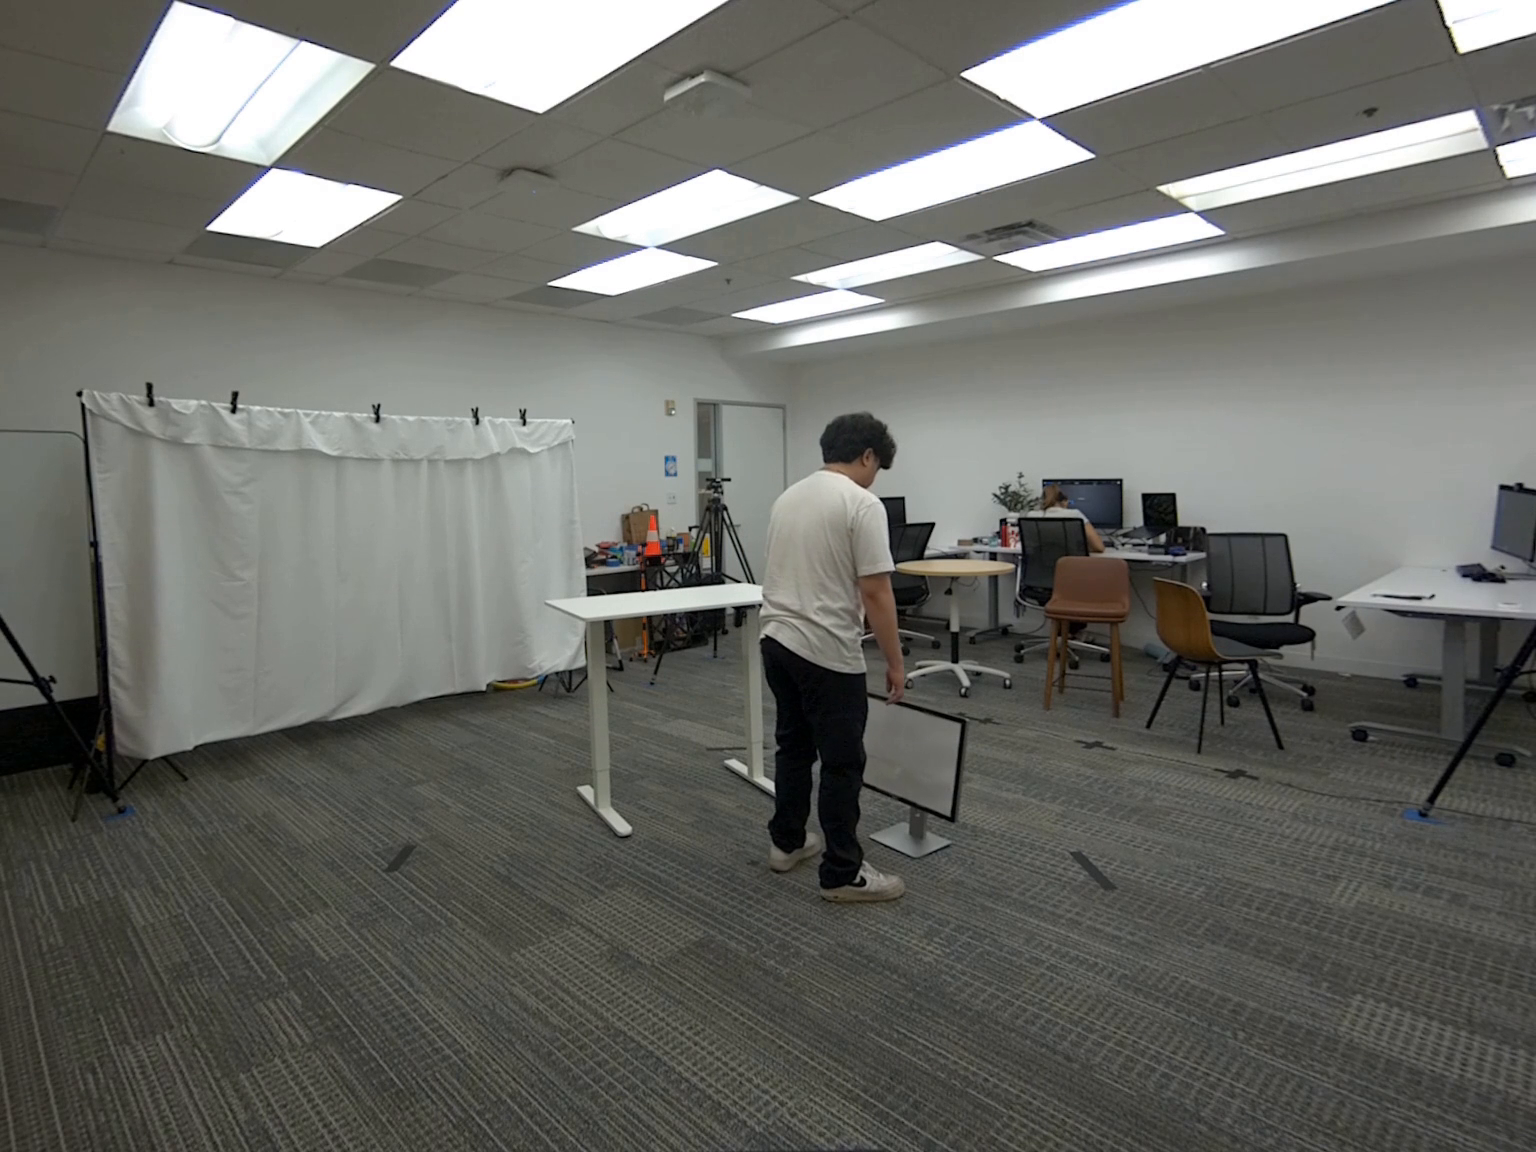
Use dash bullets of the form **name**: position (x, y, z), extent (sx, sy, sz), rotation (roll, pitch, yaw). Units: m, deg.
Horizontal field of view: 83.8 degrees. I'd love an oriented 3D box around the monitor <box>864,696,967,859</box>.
- **monitor**: position (0.562, 0.752, 3.265), extent (0.204, 0.553, 0.582), rotation (2, 2, -37)
